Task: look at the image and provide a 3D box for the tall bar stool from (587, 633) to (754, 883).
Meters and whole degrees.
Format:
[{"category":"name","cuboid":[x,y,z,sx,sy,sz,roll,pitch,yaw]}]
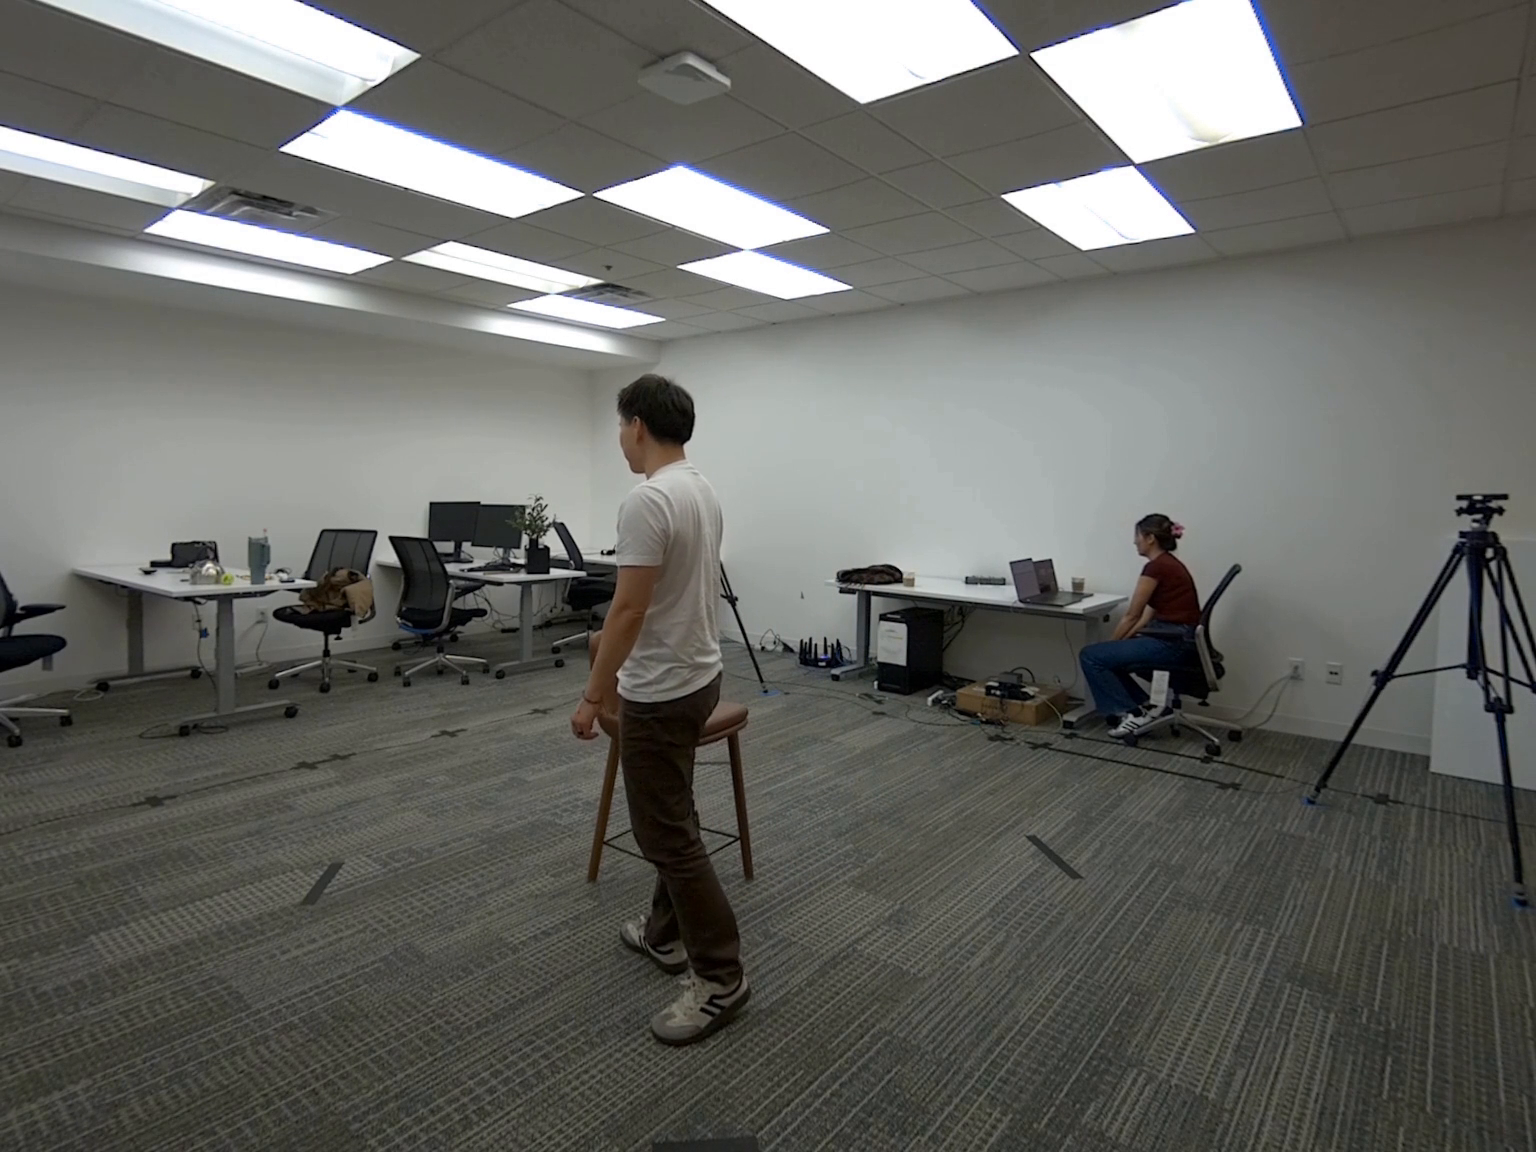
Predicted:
[{"category":"tall bar stool","cuboid":[-0.355,0.639,2.991,0.482,0.889,0.443,0,2,35]}]
